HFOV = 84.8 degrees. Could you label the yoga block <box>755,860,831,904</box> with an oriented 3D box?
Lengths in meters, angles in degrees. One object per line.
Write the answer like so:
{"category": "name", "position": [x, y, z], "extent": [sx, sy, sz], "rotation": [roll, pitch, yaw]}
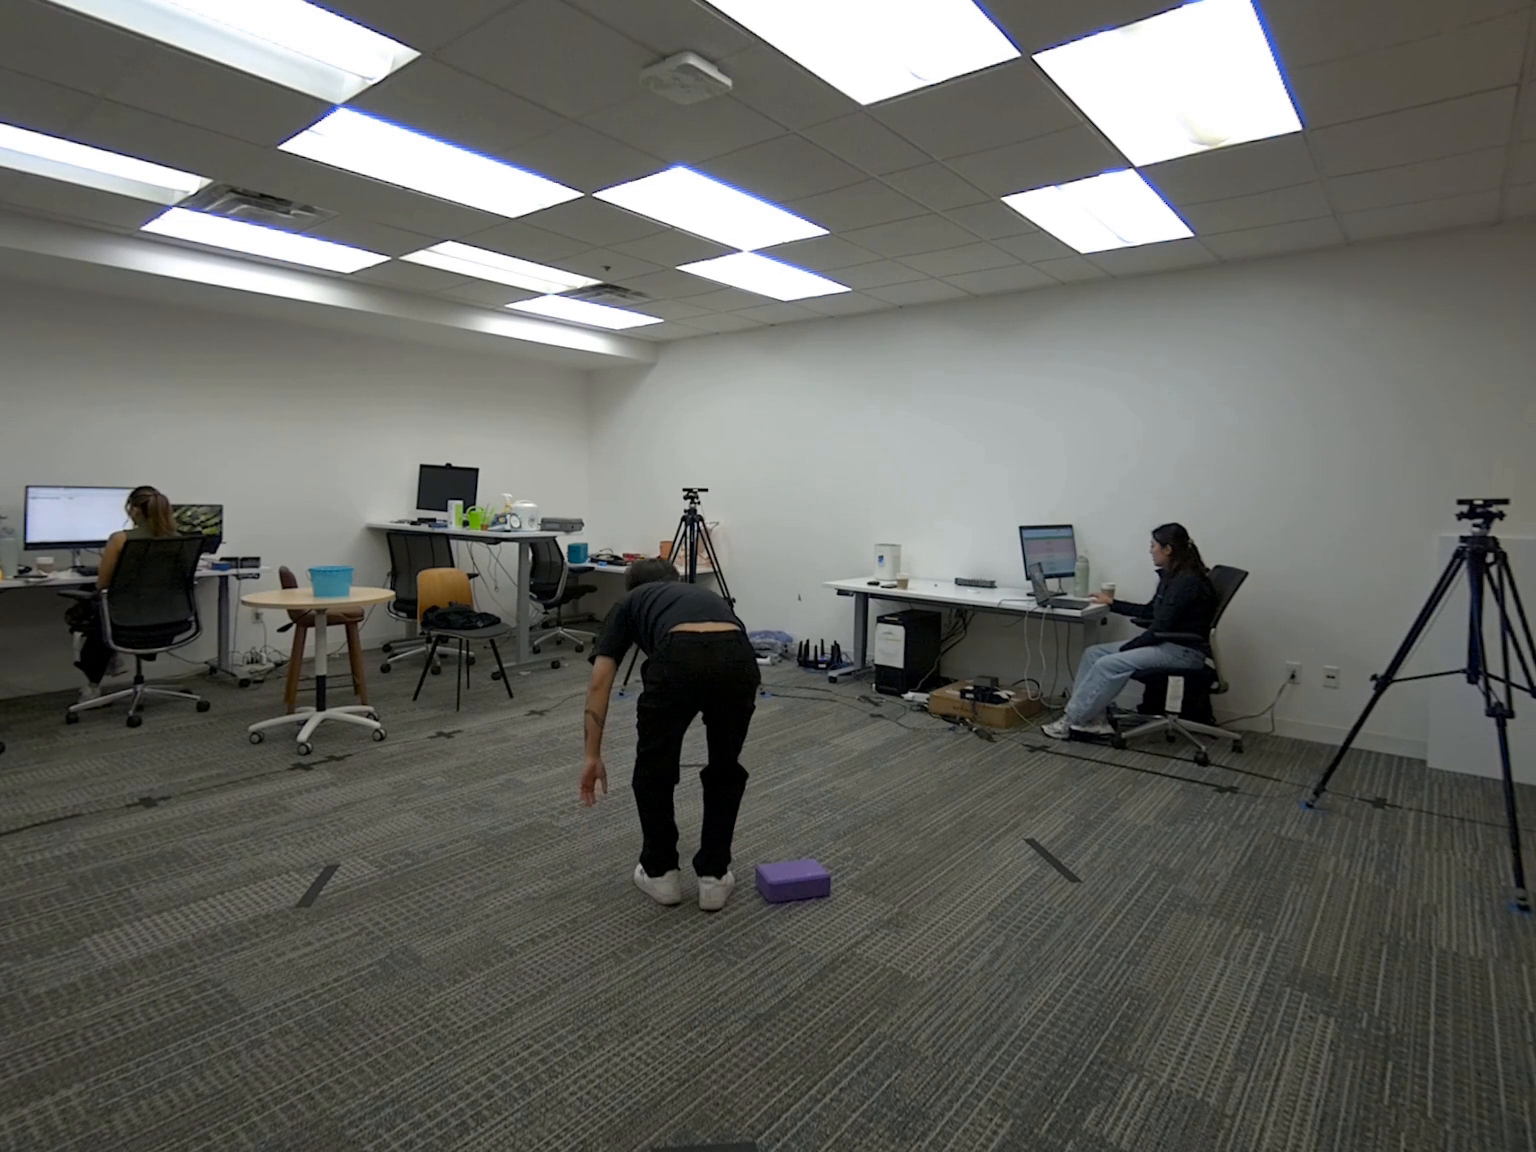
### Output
{"category": "yoga block", "position": [0.078, 1.058, 2.948], "extent": [0.225, 0.076, 0.152], "rotation": [-1, 4, -18]}
